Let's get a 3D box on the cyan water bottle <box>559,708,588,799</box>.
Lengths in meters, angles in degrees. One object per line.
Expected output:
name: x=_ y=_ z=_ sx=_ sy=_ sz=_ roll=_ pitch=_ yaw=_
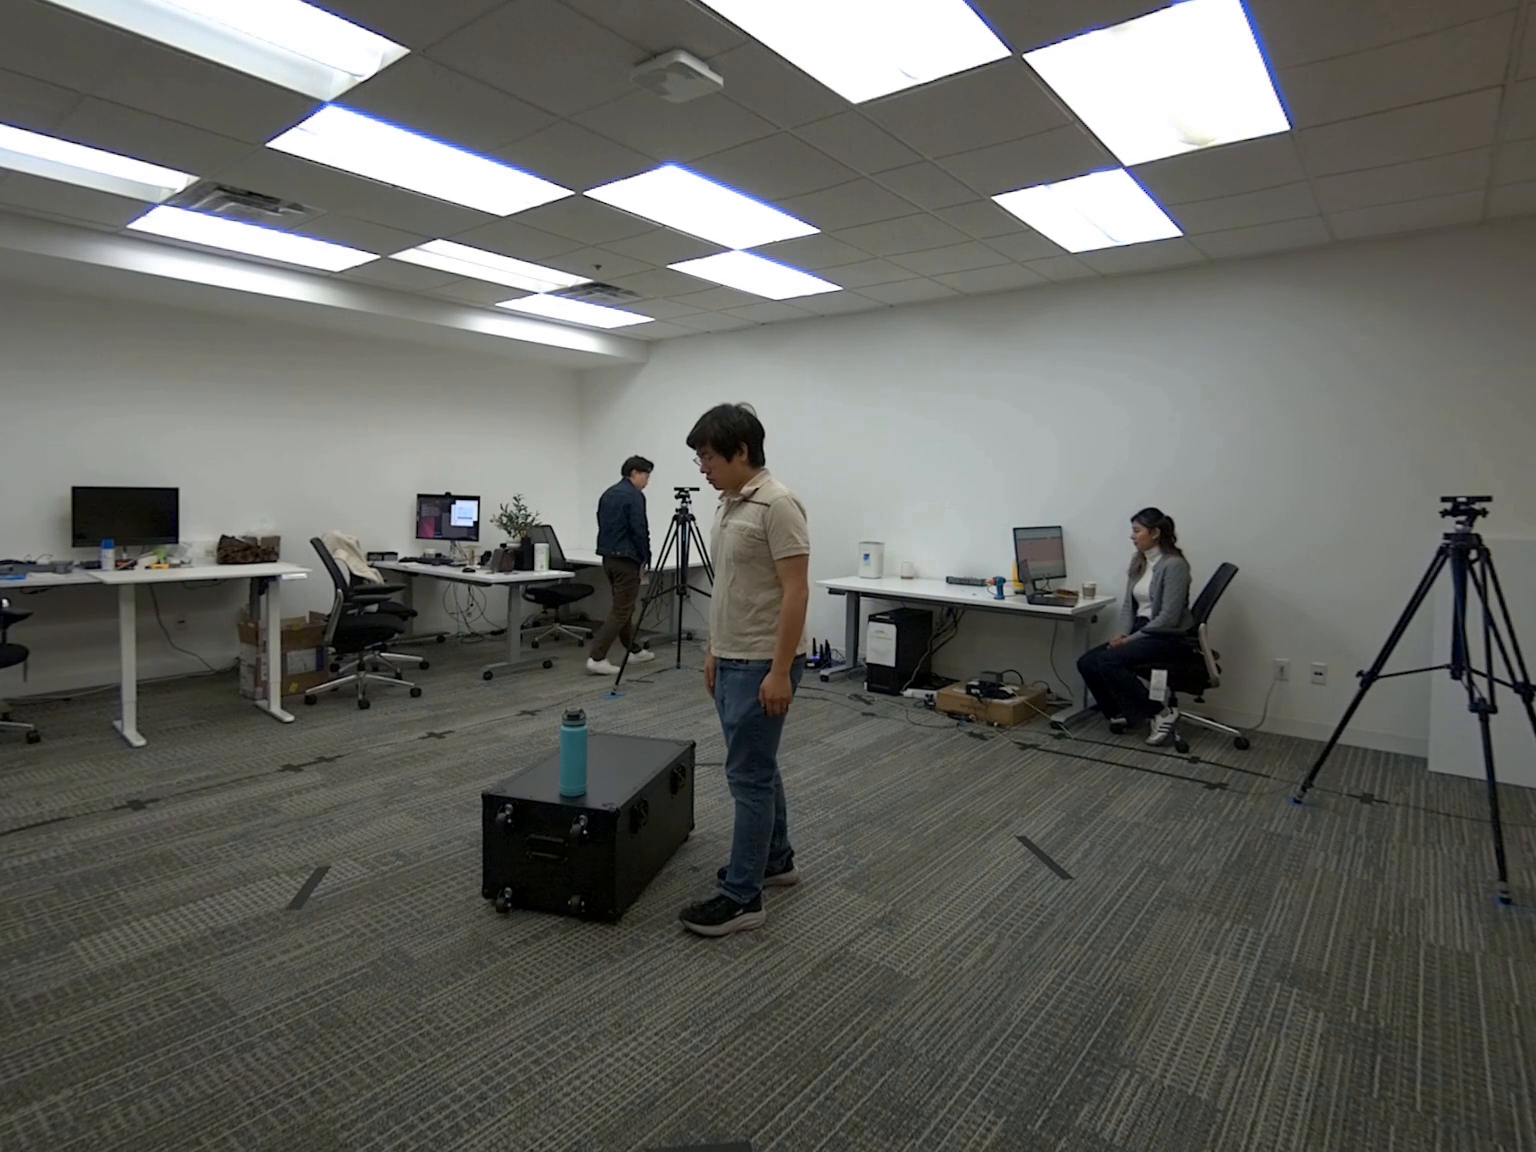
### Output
cyan water bottle: x=-0.657 y=0.575 z=2.821 sx=0.092 sy=0.283 sz=0.092 roll=1 pitch=1 yaw=-2
